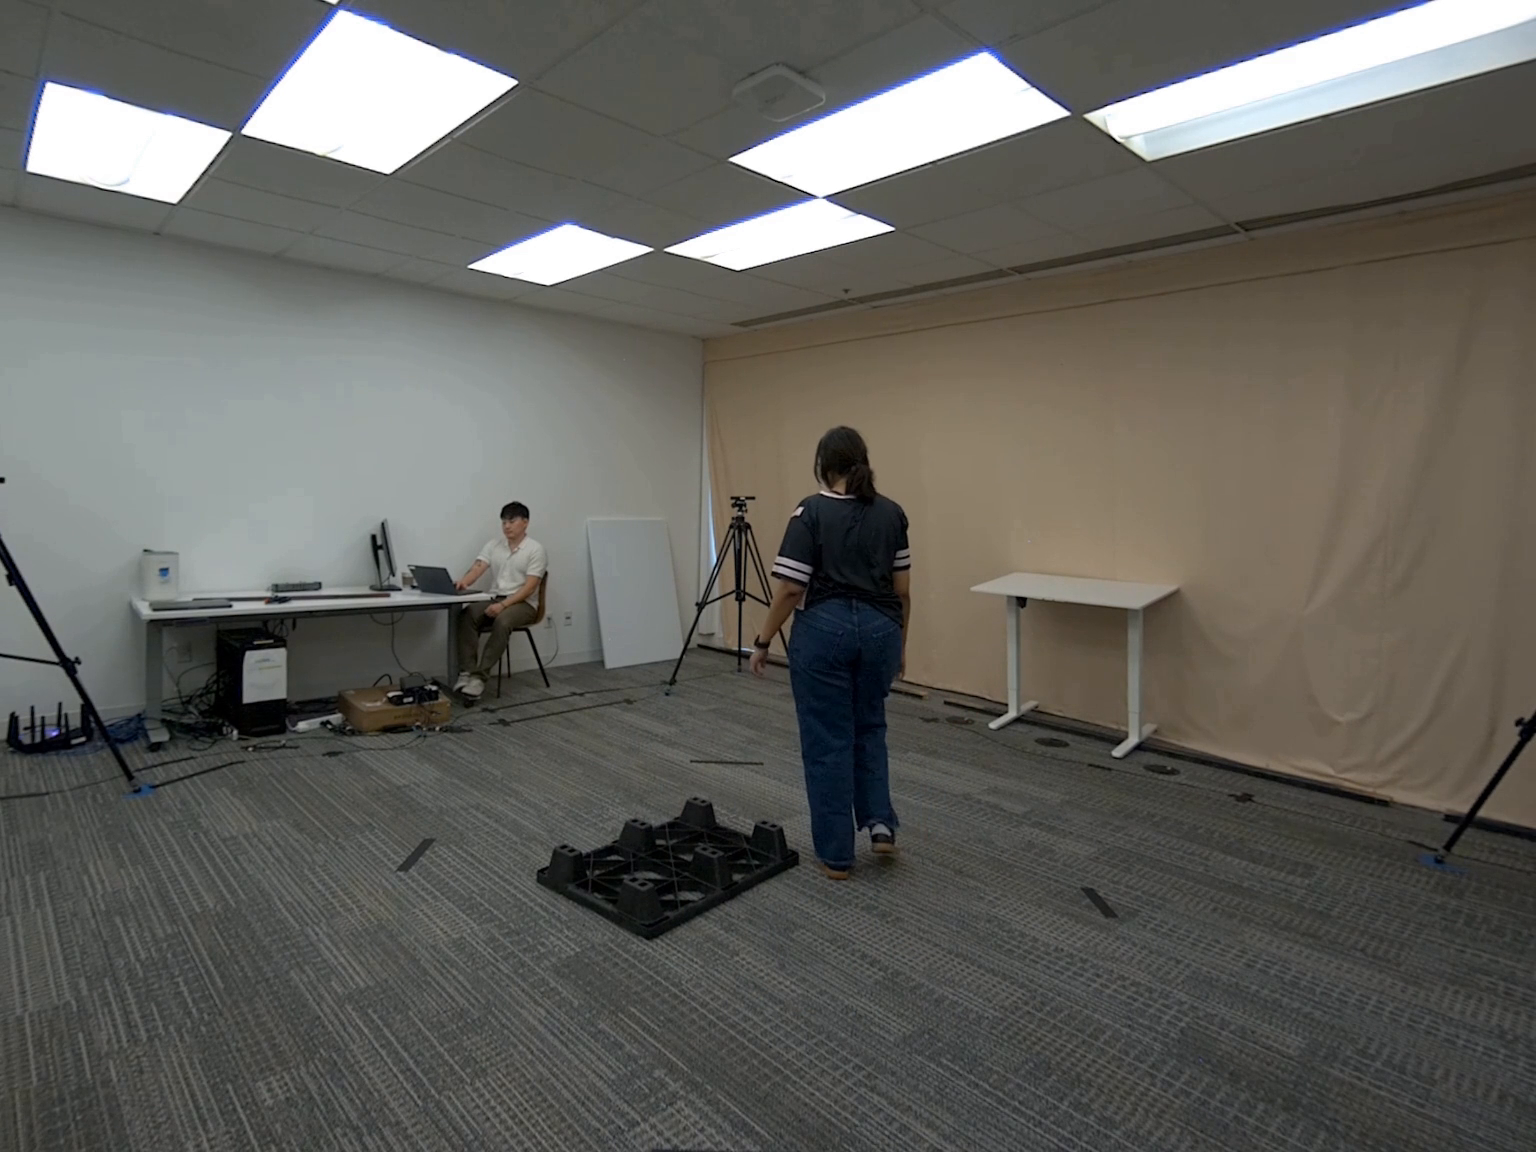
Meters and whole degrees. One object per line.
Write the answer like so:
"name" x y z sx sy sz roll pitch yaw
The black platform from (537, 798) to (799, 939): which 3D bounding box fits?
"black platform" -0.362 1.034 3.120 0.620 0.143 0.787 6 7 39
